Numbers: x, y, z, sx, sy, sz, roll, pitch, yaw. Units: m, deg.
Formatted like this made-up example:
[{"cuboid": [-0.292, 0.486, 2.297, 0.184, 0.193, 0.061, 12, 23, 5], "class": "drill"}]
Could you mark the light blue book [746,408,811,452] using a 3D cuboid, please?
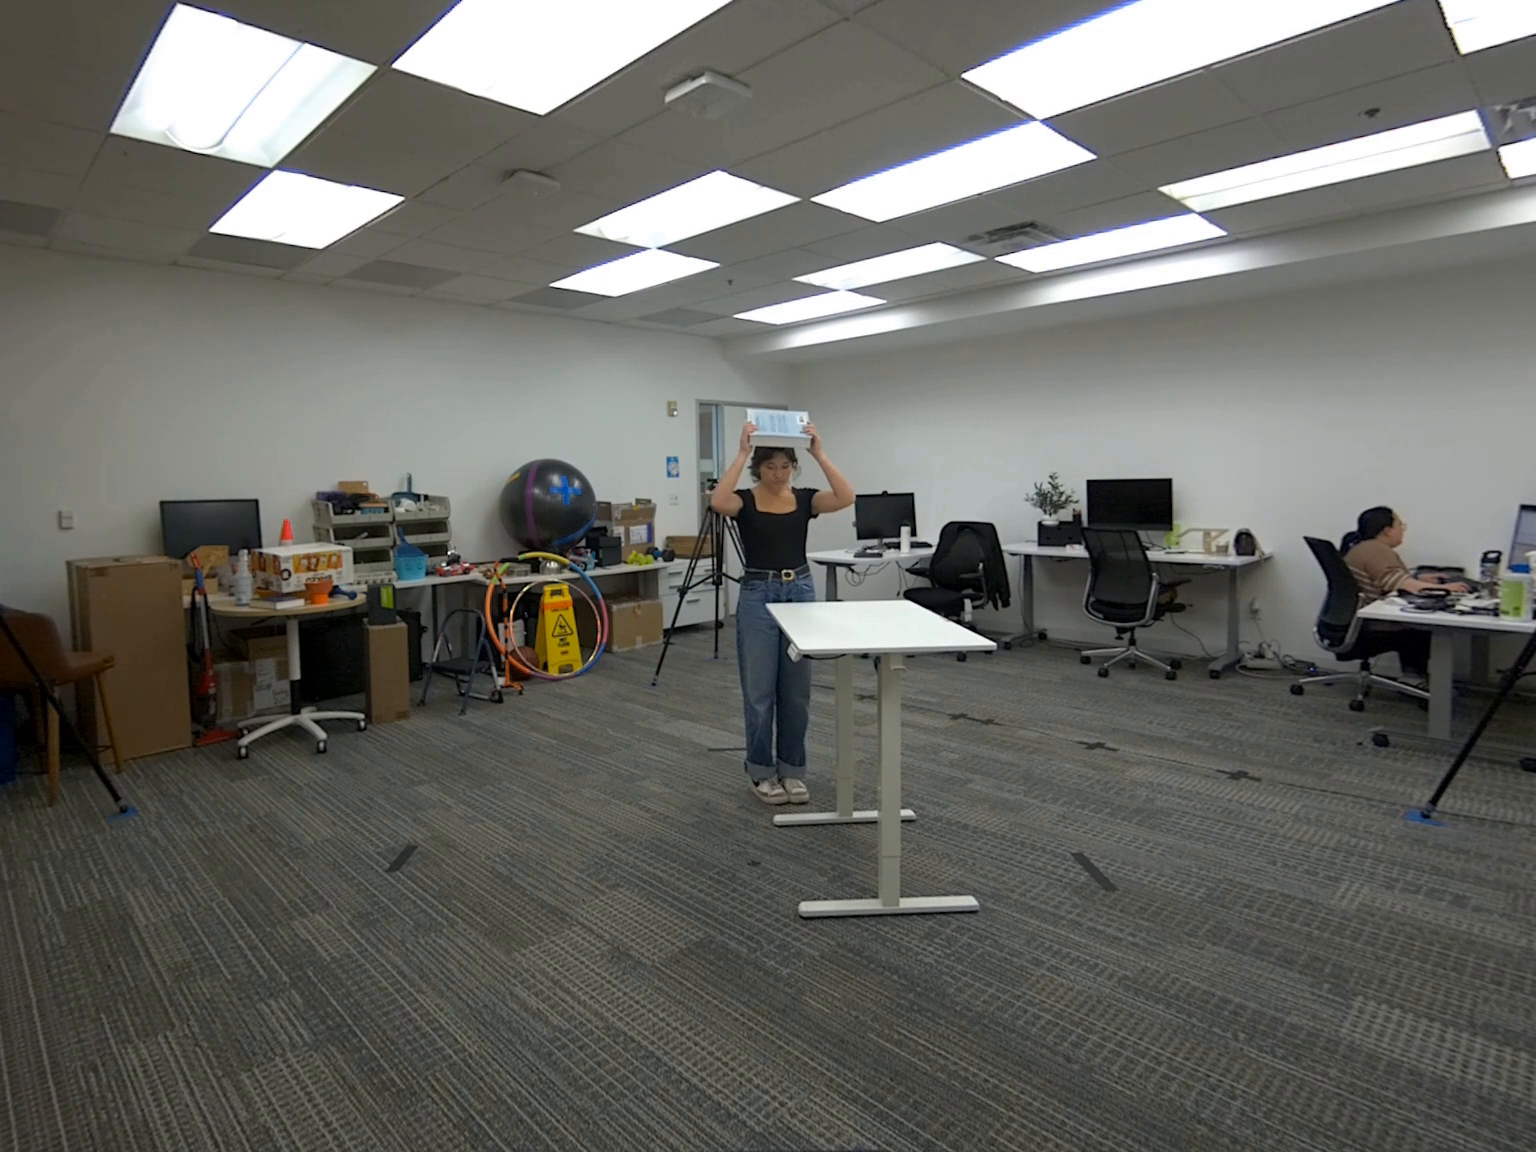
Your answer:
[{"cuboid": [0.049, -0.613, 3.581, 0.260, 0.057, 0.197, 2, 42, -5], "class": "light blue book"}]
